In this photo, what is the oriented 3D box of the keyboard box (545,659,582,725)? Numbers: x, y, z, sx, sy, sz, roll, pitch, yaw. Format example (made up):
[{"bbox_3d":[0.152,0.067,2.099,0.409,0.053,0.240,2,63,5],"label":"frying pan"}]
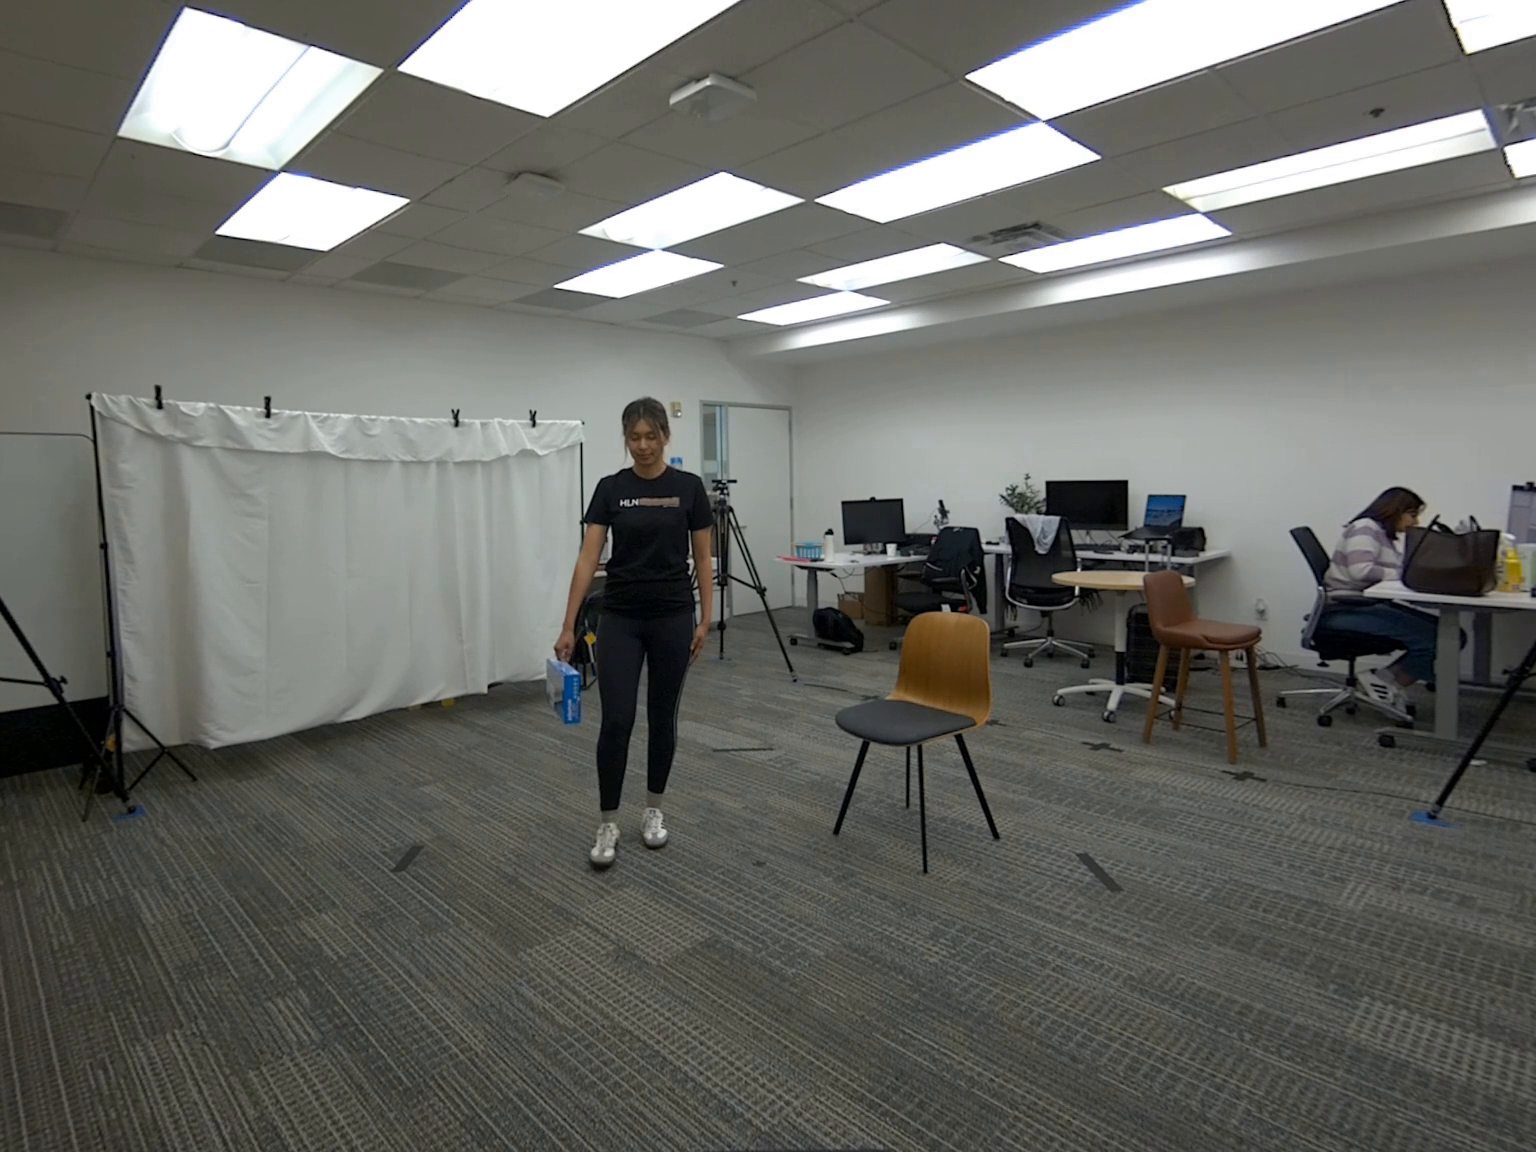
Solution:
[{"bbox_3d":[-0.760,0.421,3.184,0.058,0.176,0.445,0,3,-21],"label":"keyboard box"}]
